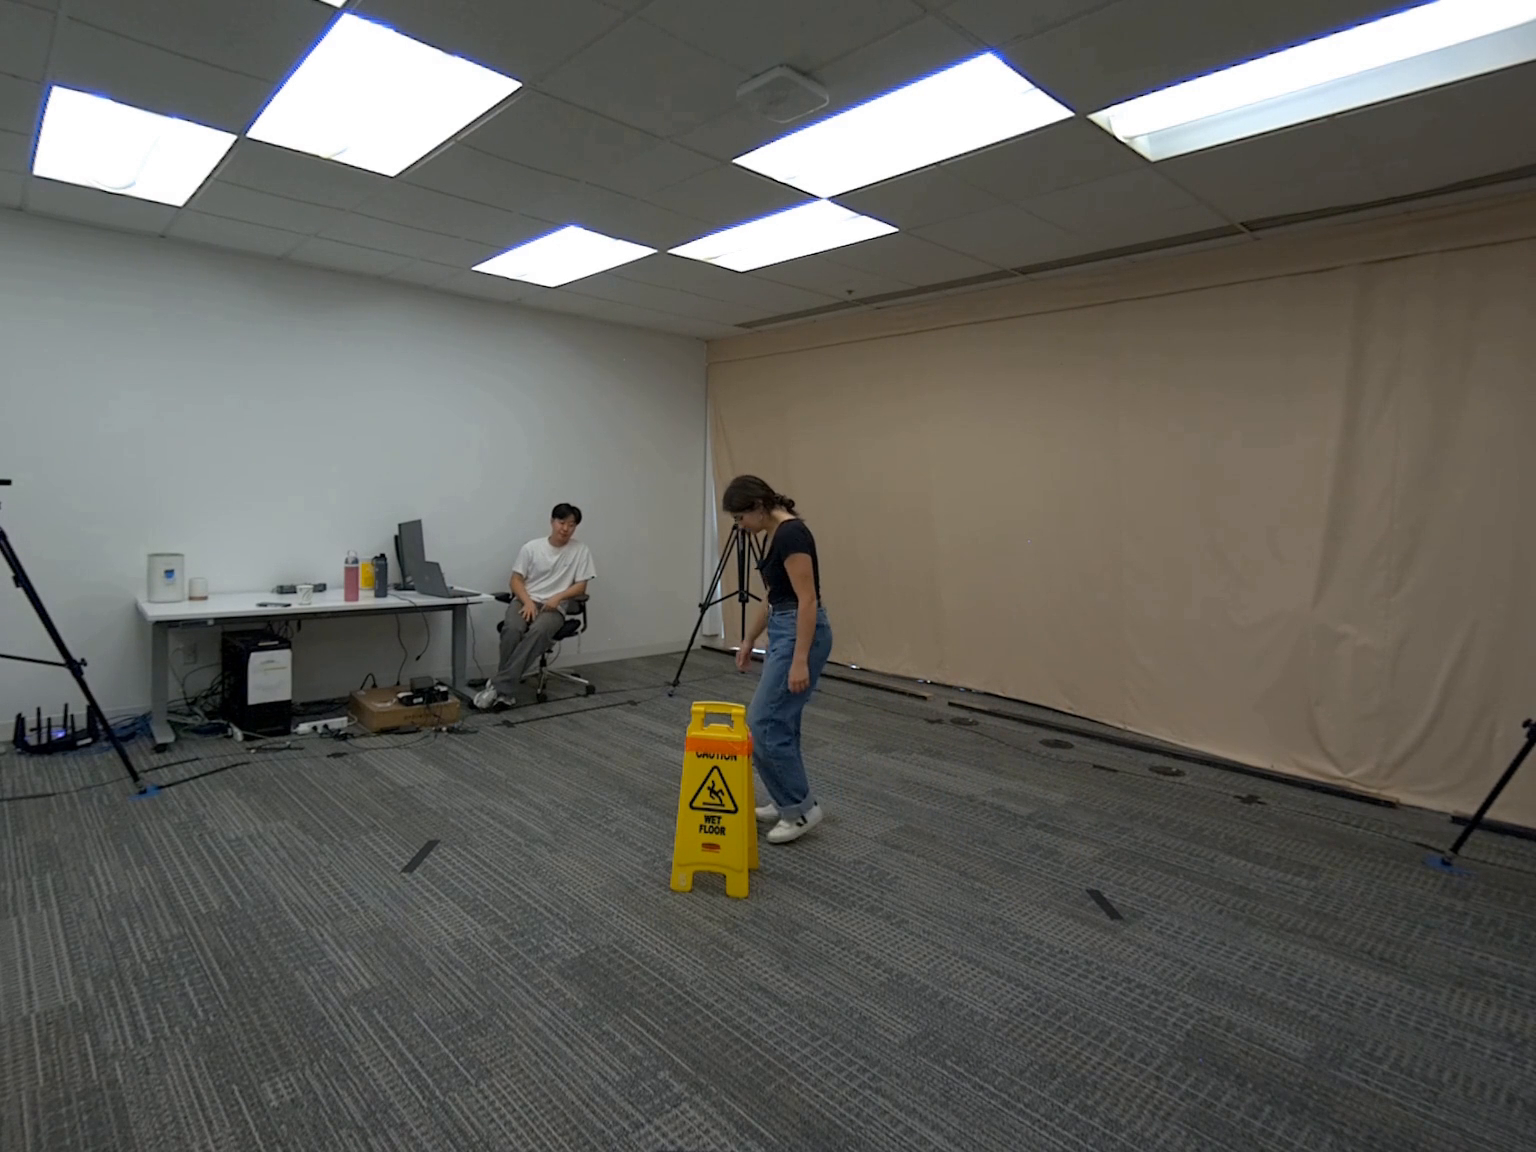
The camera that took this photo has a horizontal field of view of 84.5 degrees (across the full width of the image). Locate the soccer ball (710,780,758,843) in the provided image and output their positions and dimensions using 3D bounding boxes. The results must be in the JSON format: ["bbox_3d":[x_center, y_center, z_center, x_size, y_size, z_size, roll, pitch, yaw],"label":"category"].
[{"bbox_3d":[-0.147,0.980,3.543,0.187,0.187,0.188,1,4,-1],"label":"soccer ball"}]
